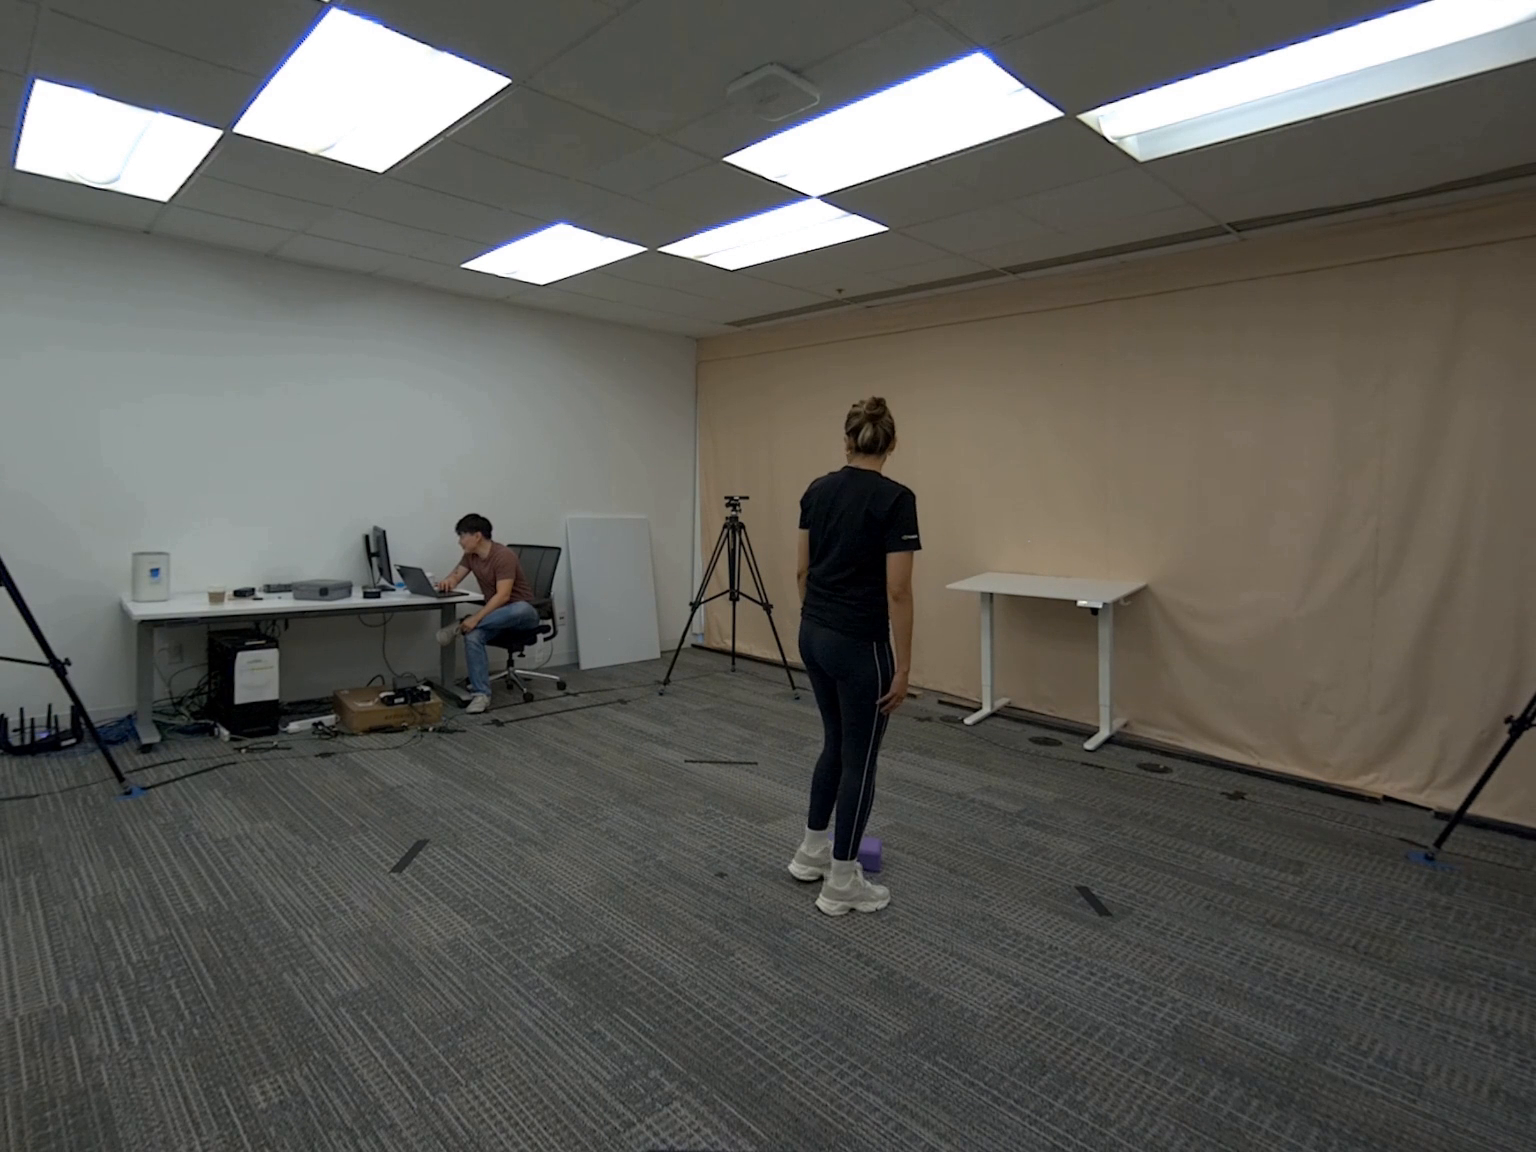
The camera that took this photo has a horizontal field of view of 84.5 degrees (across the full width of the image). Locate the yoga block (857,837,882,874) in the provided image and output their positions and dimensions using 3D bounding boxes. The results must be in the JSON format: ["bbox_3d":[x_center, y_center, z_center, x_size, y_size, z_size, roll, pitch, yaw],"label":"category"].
[{"bbox_3d":[0.312,1.063,3.247,0.232,0.076,0.148,2,5,13],"label":"yoga block"}]
